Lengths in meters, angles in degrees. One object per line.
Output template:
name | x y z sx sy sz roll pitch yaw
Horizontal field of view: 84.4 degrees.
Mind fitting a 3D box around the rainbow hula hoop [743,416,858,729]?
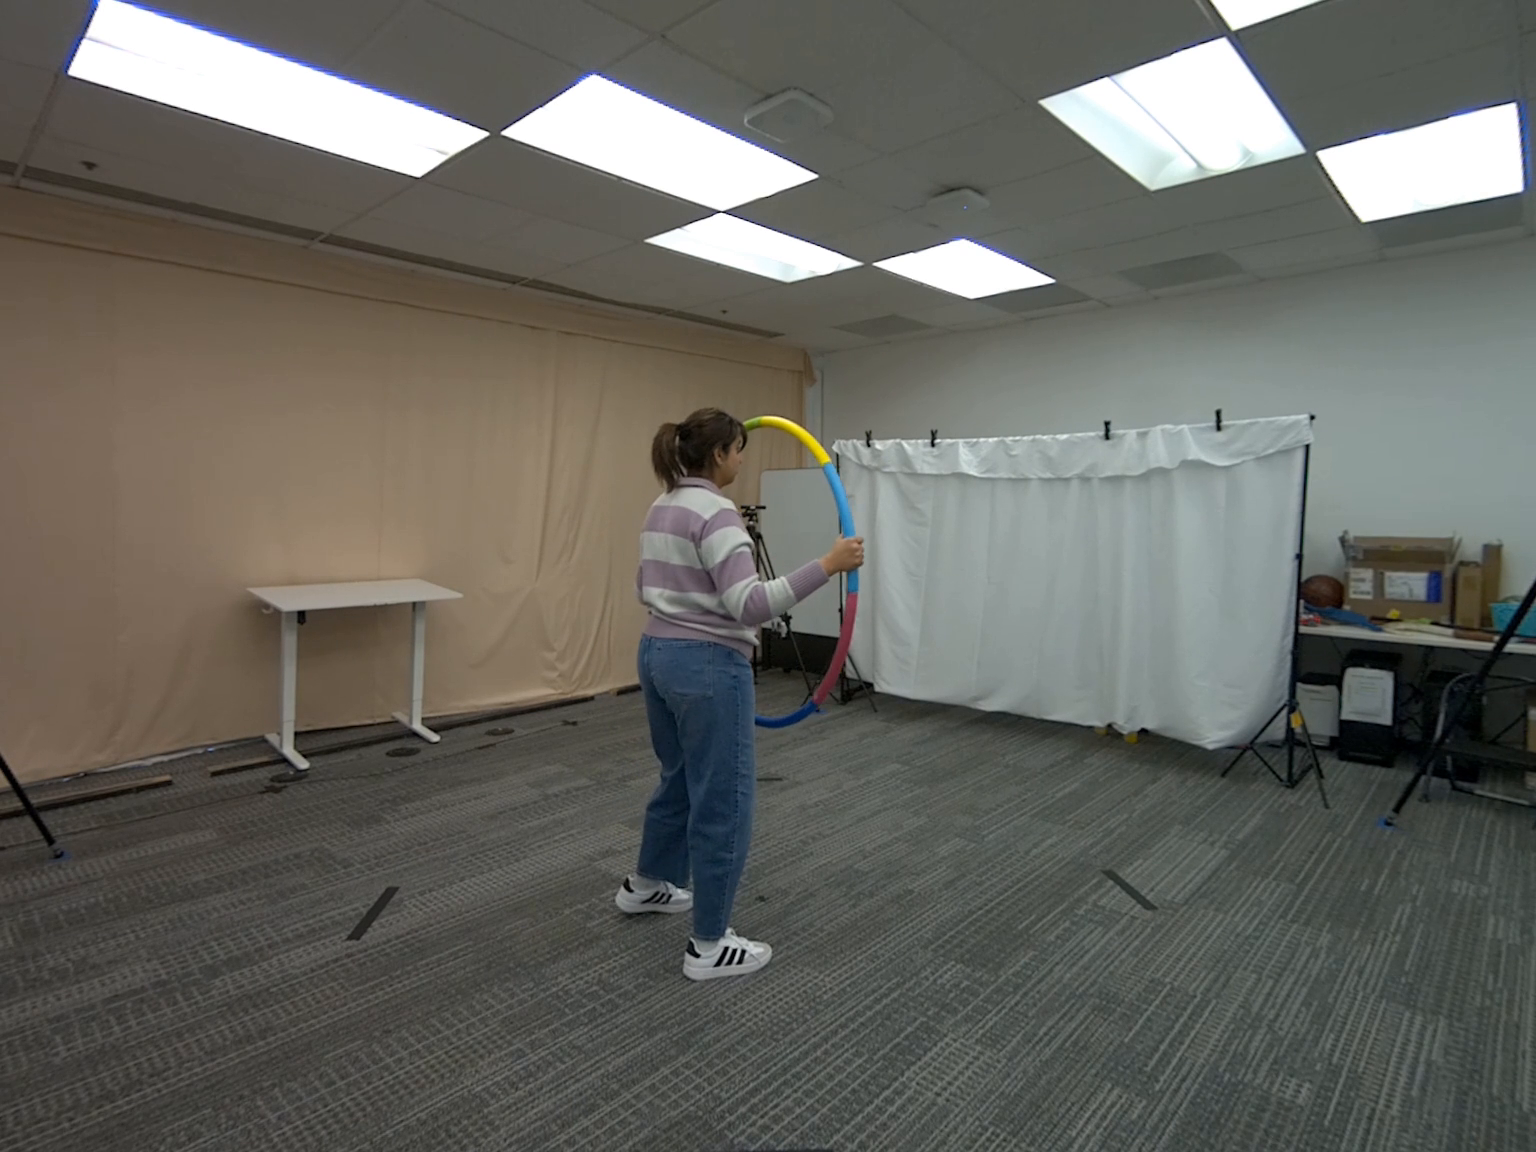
rainbow hula hoop | -0.042 -0.018 2.708 0.034 0.977 1.009 0 3 -33
